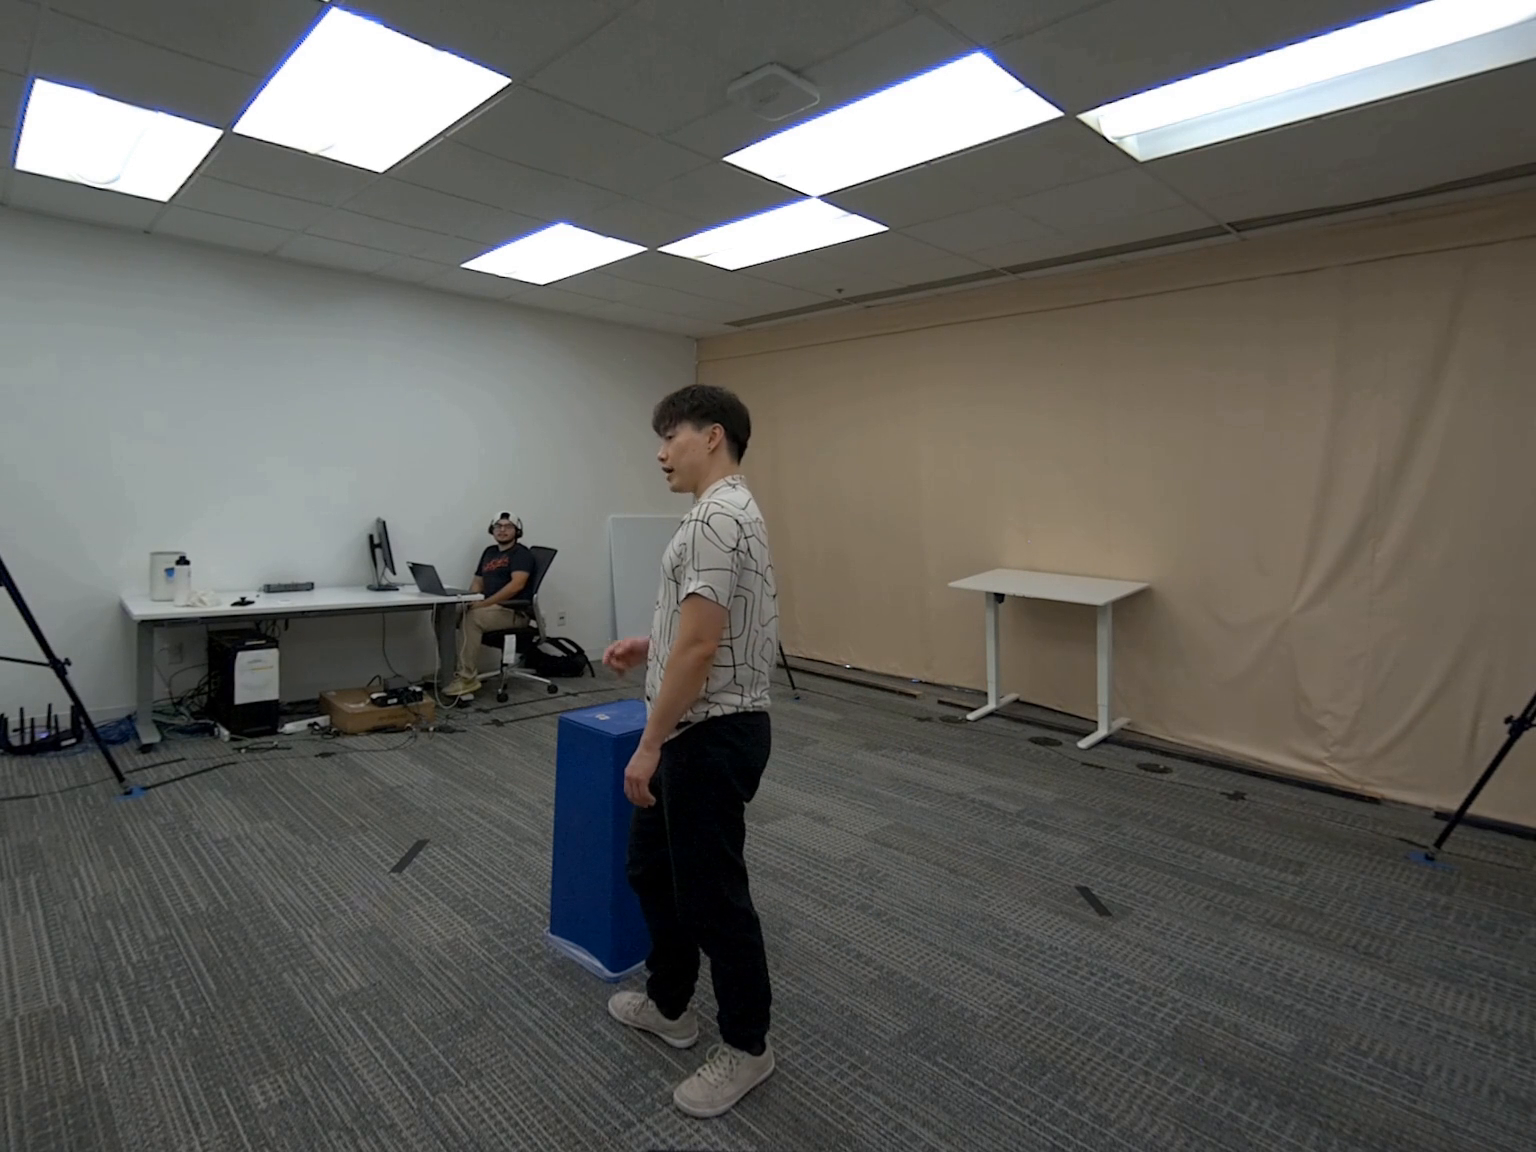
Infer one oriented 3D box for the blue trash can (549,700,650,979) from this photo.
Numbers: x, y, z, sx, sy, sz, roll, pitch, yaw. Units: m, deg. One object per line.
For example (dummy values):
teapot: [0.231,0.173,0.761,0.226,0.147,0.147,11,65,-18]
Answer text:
blue trash can: [-0.464,0.787,2.622,0.387,0.712,0.366,3,4,43]
